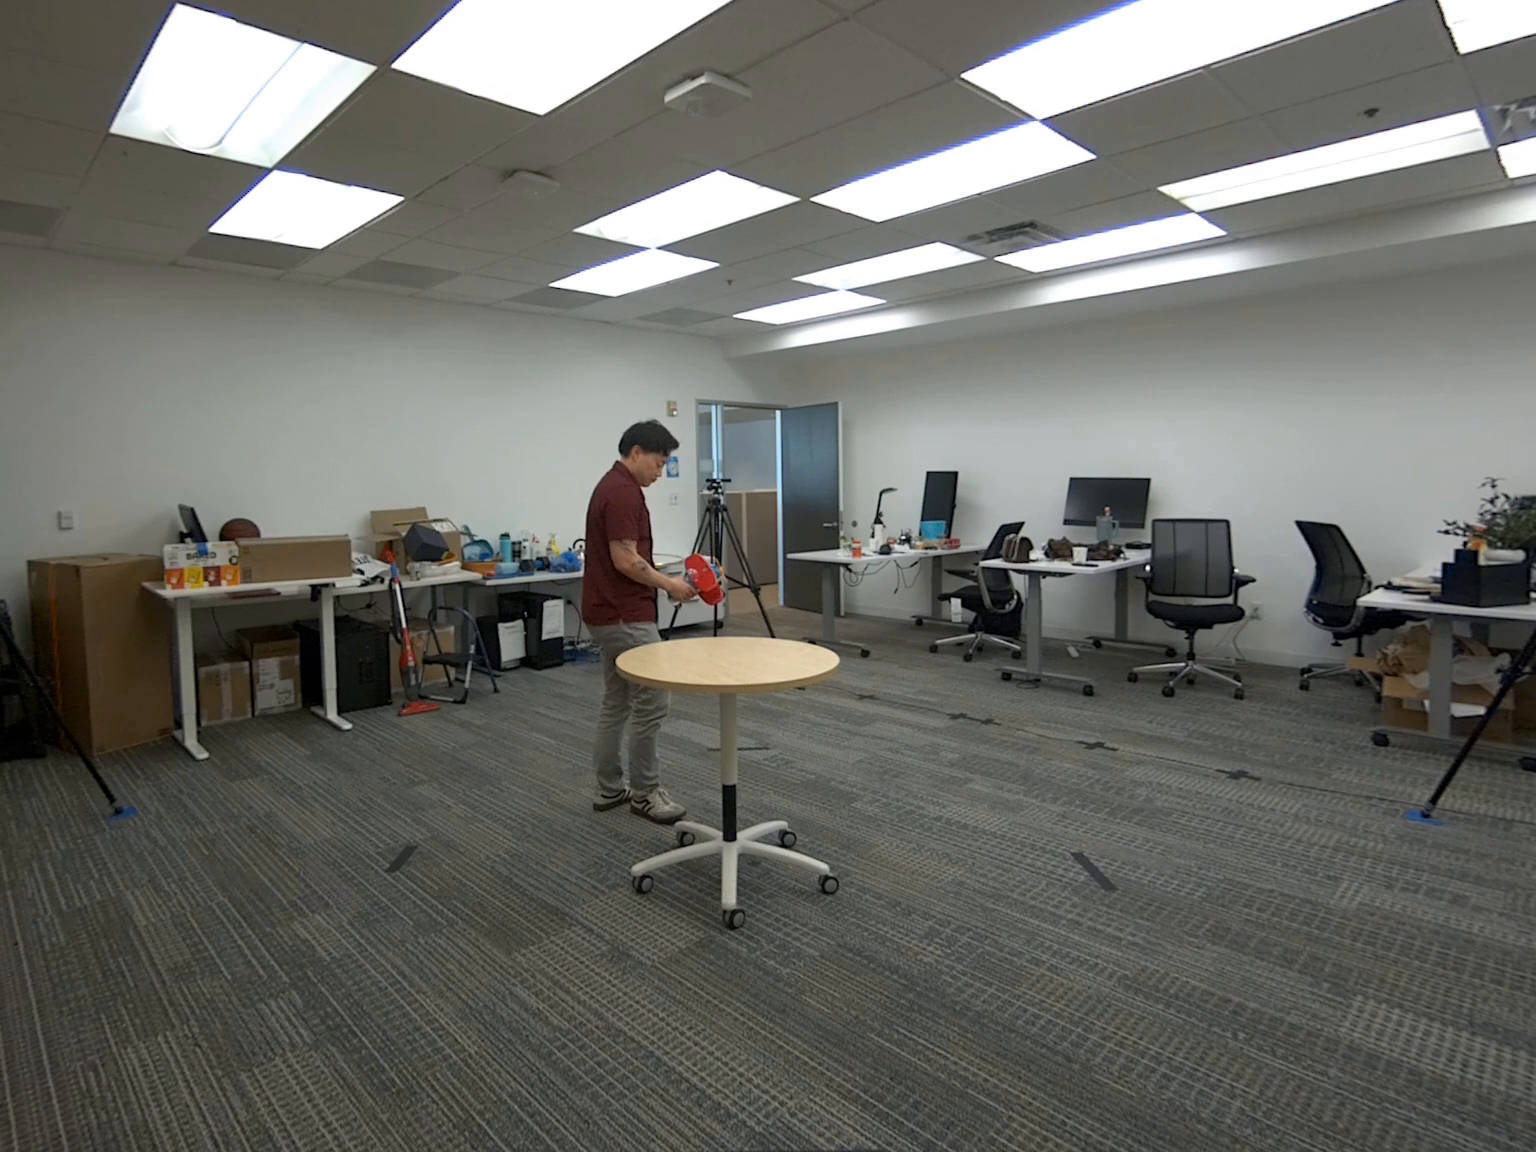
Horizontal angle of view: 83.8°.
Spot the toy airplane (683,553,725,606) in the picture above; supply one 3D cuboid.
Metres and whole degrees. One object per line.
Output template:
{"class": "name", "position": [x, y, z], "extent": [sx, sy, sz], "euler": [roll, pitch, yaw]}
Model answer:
{"class": "toy airplane", "position": [-0.302, 0.047, 3.601], "extent": [0.259, 0.152, 0.258], "euler": [21, 42, 31]}
